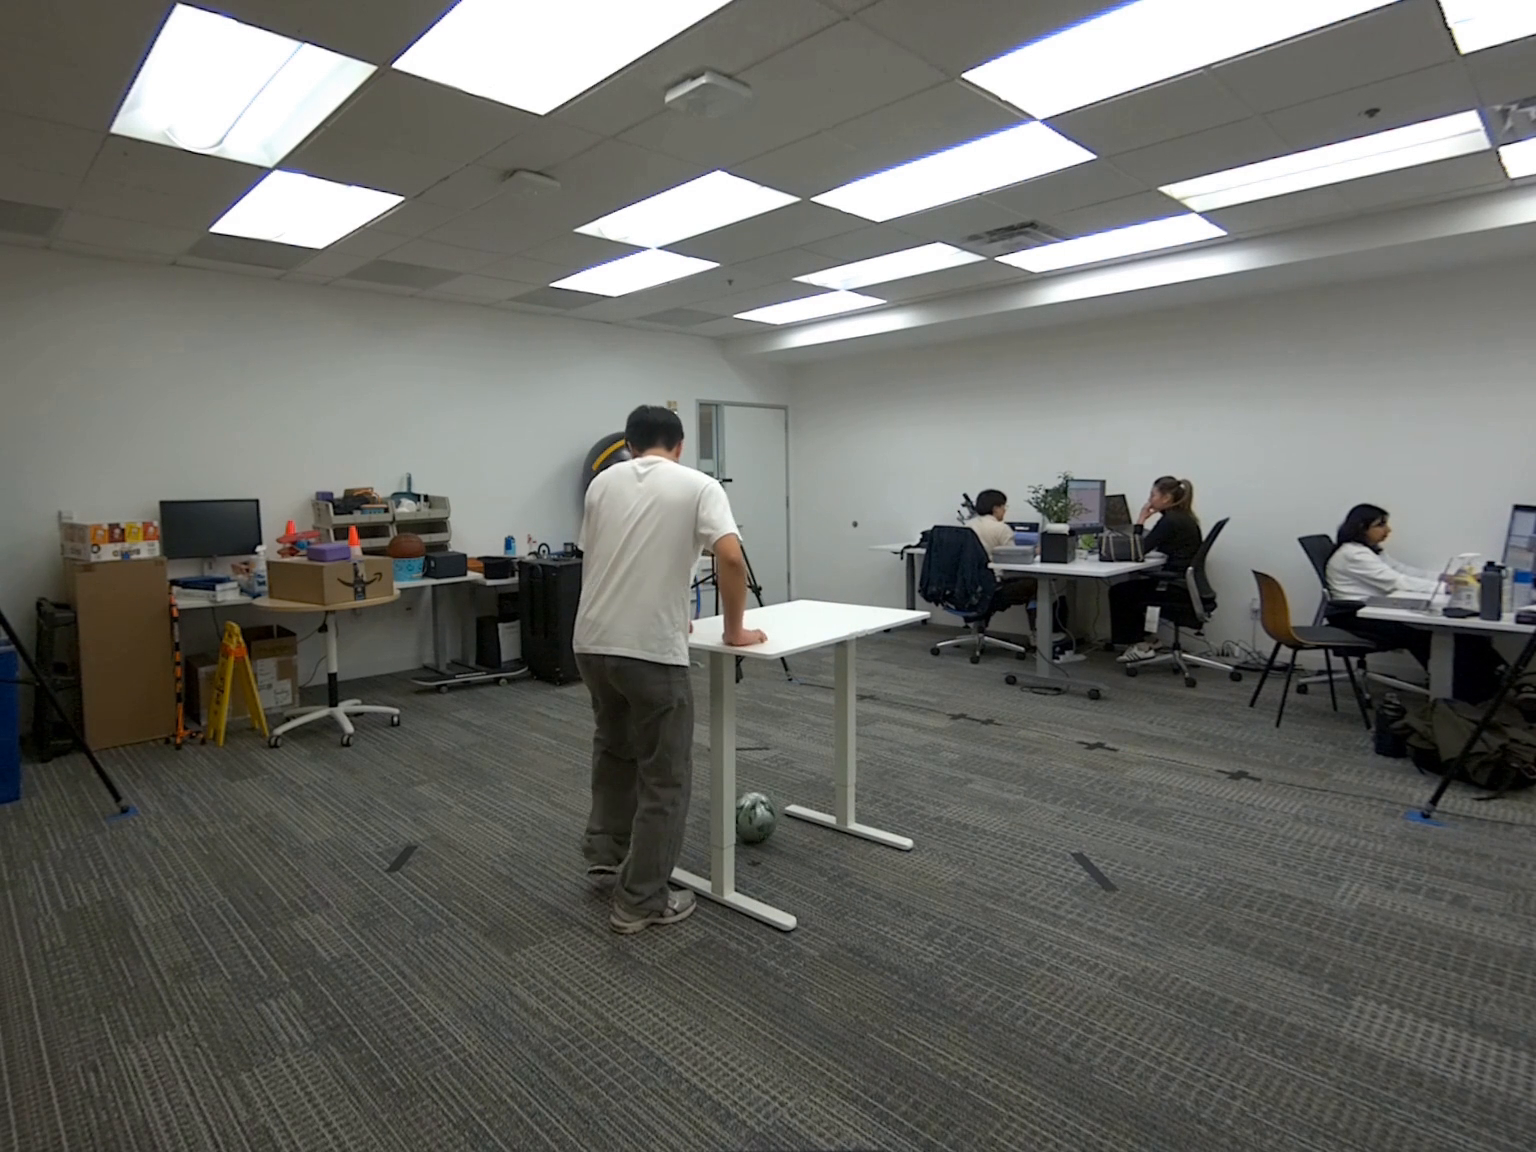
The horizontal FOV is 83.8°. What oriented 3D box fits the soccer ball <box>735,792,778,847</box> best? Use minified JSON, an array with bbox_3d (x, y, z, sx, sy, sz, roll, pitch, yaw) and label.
[{"bbox_3d":[-0.056,0.932,3.308,0.187,0.187,0.188,-1,5,-2],"label":"soccer ball"}]
